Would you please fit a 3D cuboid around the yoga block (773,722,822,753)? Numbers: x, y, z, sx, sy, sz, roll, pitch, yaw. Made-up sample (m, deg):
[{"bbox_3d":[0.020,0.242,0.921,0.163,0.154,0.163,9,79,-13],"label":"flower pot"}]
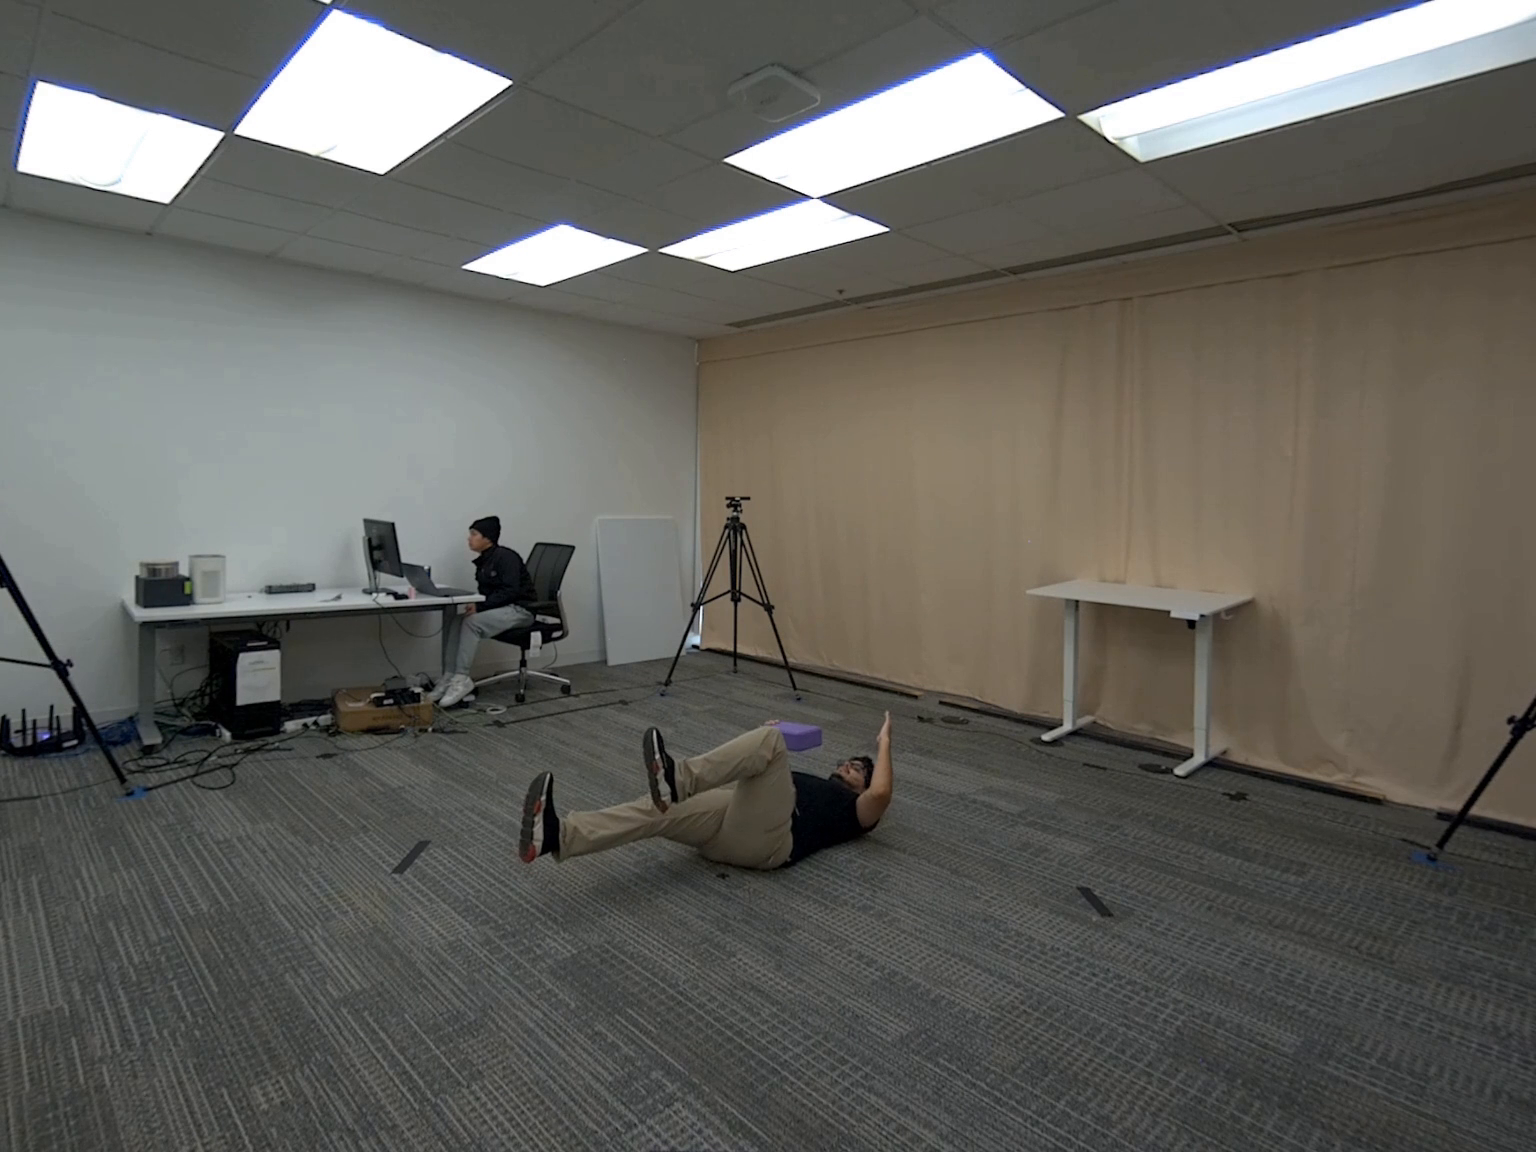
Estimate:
[{"bbox_3d":[0.085,0.651,3.425,0.145,0.076,0.234,-4,2,-45],"label":"yoga block"}]
